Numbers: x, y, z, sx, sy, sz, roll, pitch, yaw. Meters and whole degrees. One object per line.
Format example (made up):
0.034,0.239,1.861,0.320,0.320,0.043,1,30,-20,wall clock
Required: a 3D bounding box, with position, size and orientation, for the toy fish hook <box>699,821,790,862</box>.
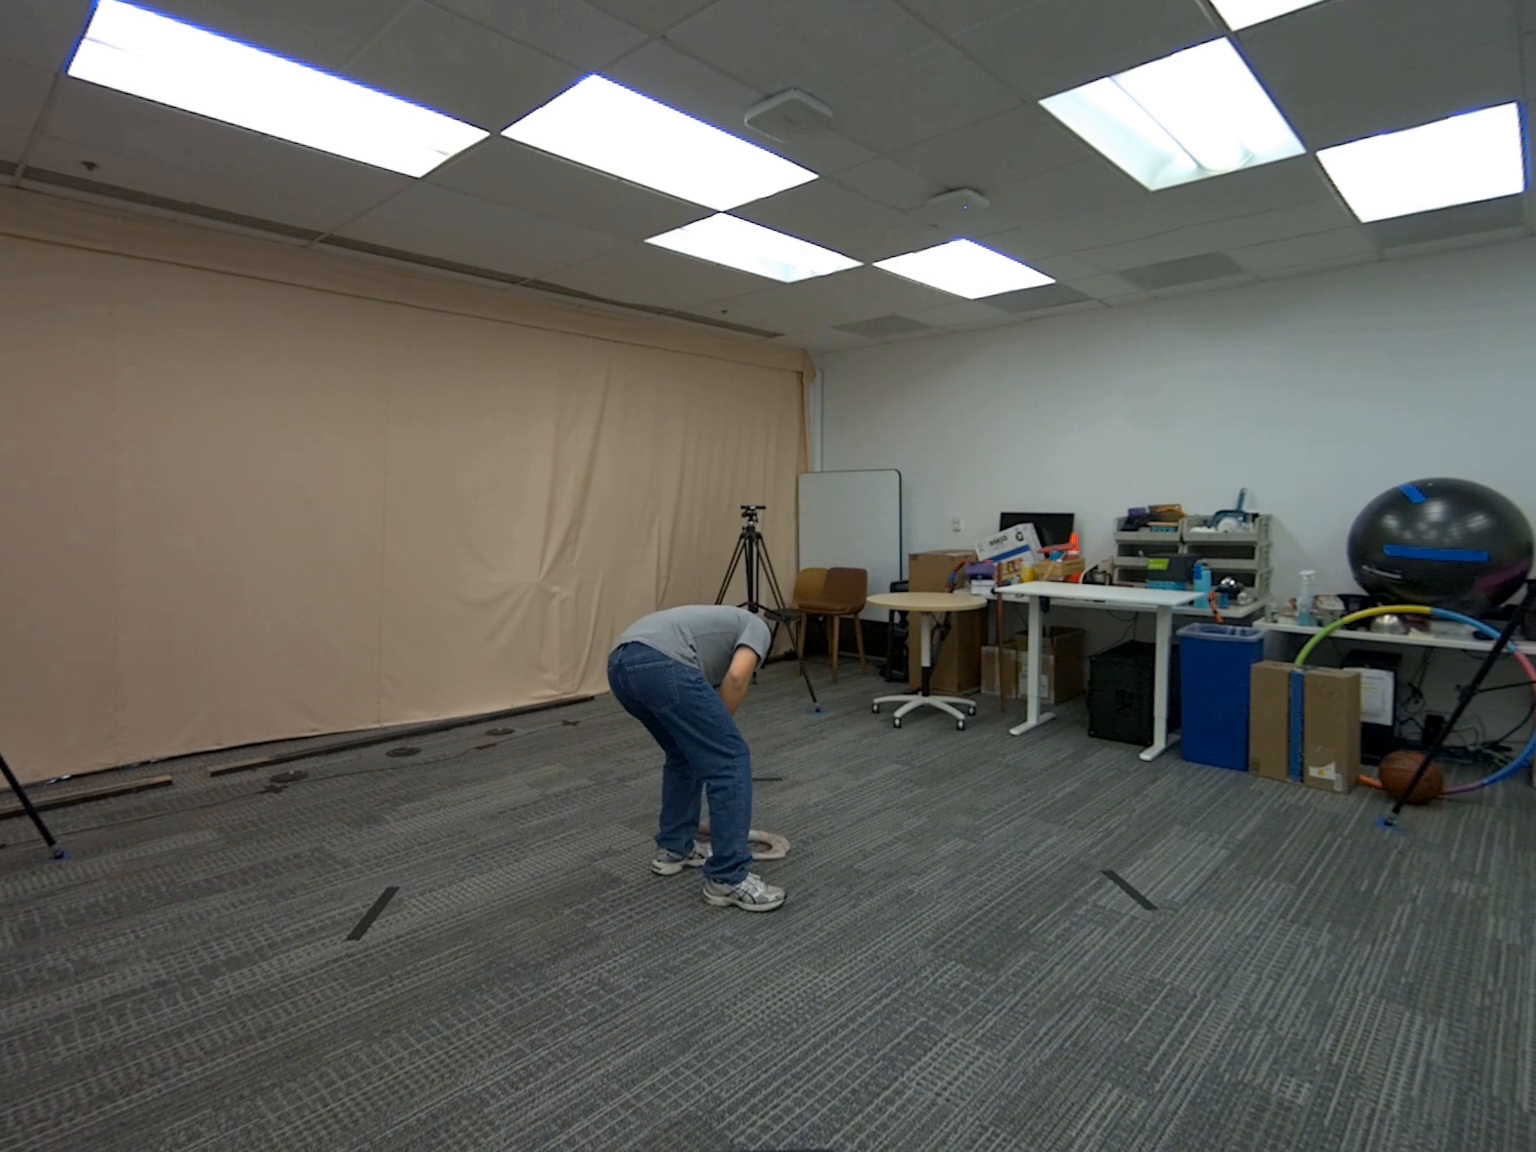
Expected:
-0.166,1.074,3.435,0.516,0.048,0.221,3,4,17,toy fish hook
